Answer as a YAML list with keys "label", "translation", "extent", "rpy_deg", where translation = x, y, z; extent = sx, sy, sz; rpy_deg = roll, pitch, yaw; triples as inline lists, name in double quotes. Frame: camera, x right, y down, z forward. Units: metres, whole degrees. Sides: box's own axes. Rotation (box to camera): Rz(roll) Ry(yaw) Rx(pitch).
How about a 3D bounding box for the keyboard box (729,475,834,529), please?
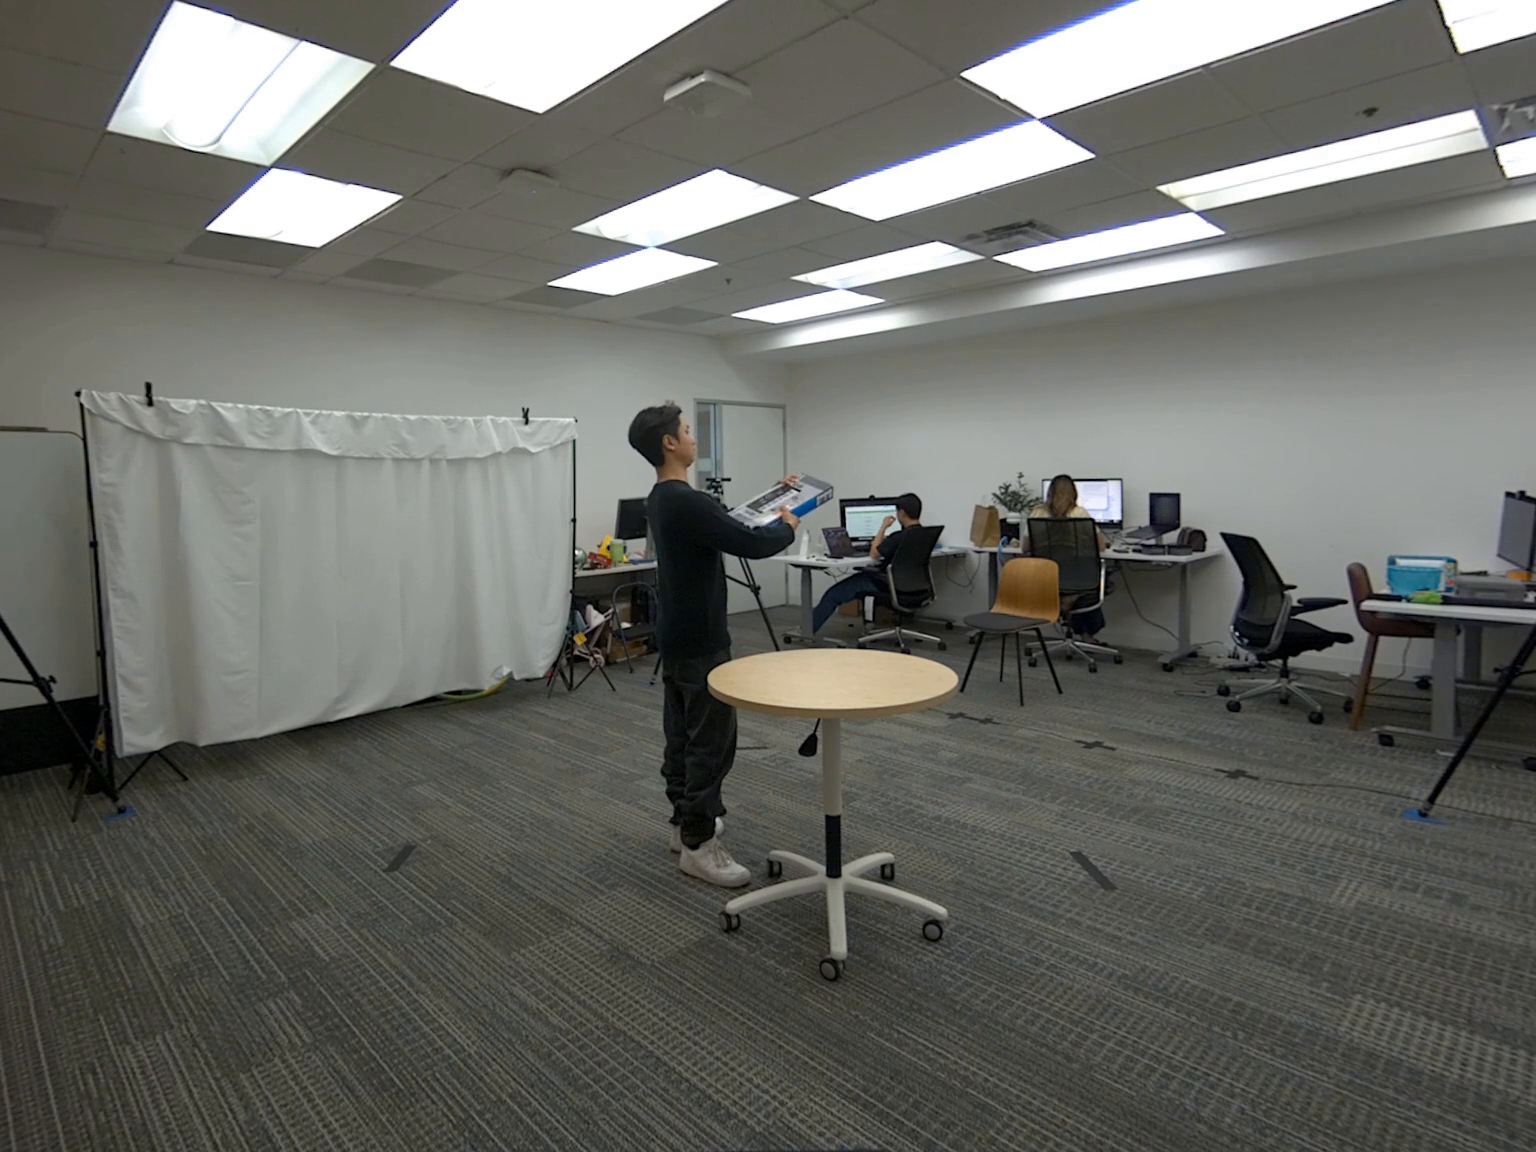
- label: "keyboard box"
  translation: [0.050, -0.266, 3.281]
  extent: [0.432, 0.057, 0.182]
  rpy_deg: [-33, 43, -33]
